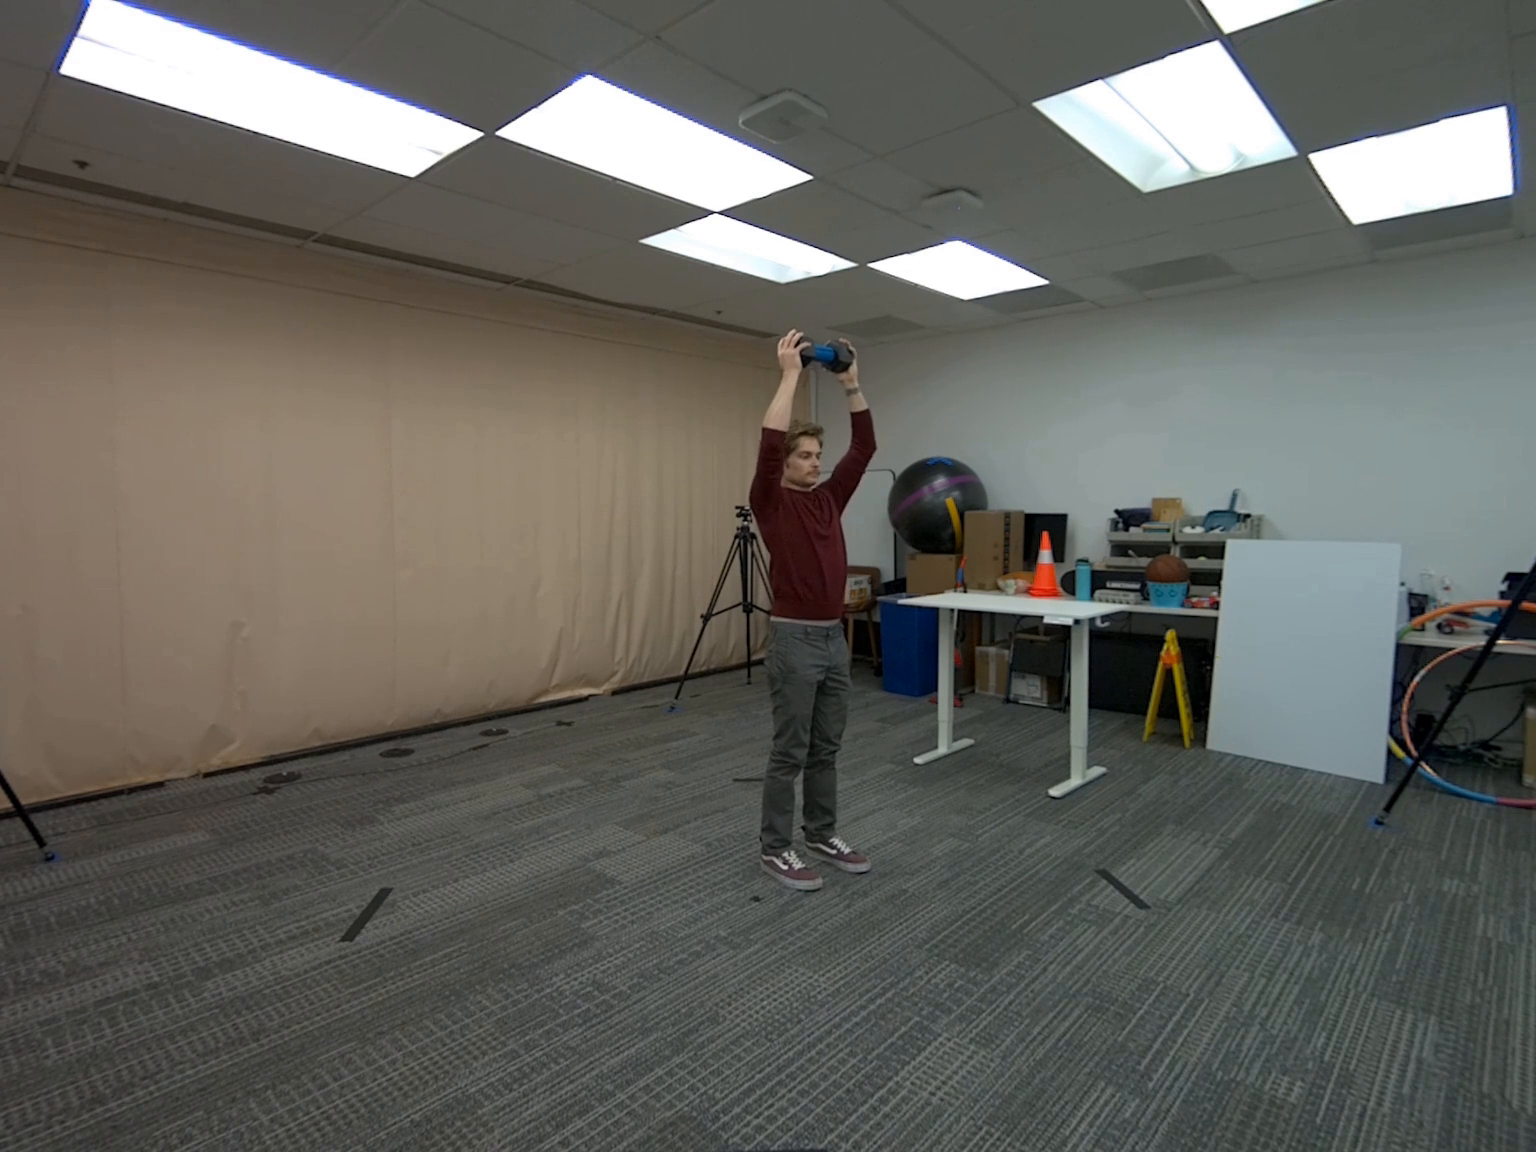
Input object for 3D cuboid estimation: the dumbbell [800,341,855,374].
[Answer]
[{"bbox_3d":[0.193,-0.817,3.109,0.285,0.123,0.112,-7,2,-42],"label":"dumbbell"}]
